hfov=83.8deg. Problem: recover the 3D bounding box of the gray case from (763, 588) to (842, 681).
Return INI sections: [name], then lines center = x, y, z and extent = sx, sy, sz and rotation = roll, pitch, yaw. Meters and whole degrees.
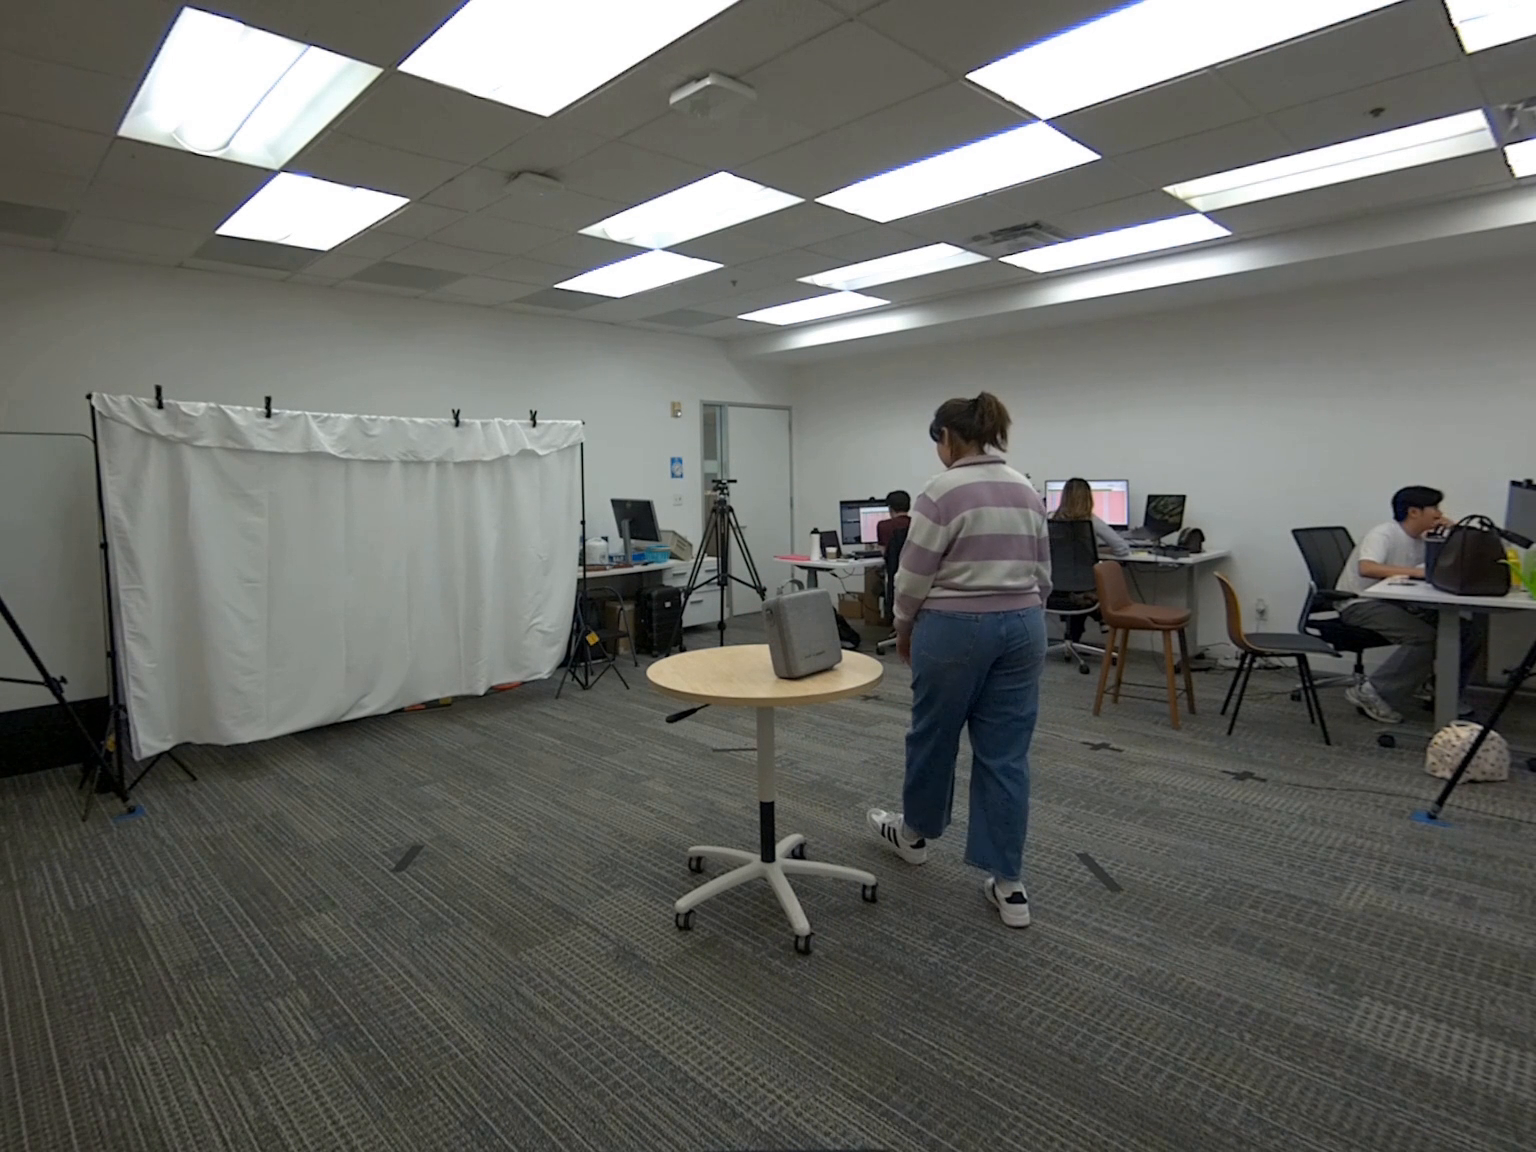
[gray case]
center = 0.111, 0.174, 2.693
extent = 0.106, 0.262, 0.250
rotation = -15, -6, 41
